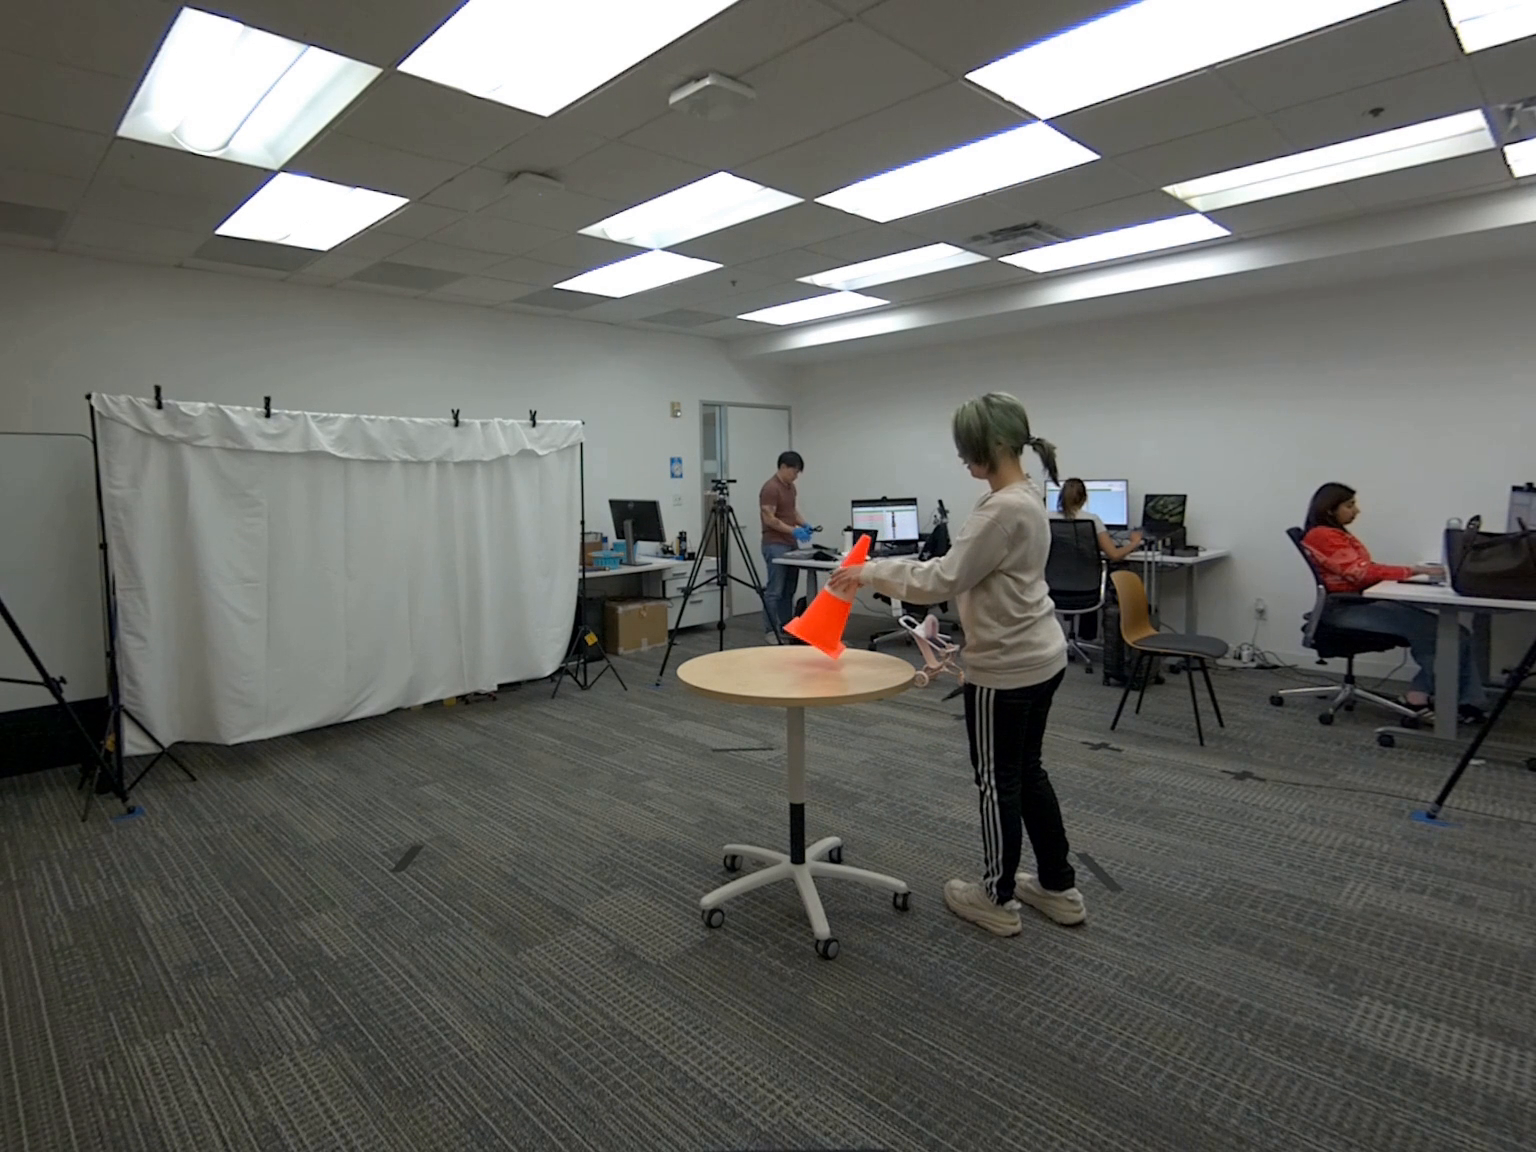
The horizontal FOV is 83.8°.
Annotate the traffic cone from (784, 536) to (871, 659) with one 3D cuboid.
[{"bbox_3d":[0.248,0.041,2.787,0.207,0.382,0.202,30,12,15],"label":"traffic cone"}]
